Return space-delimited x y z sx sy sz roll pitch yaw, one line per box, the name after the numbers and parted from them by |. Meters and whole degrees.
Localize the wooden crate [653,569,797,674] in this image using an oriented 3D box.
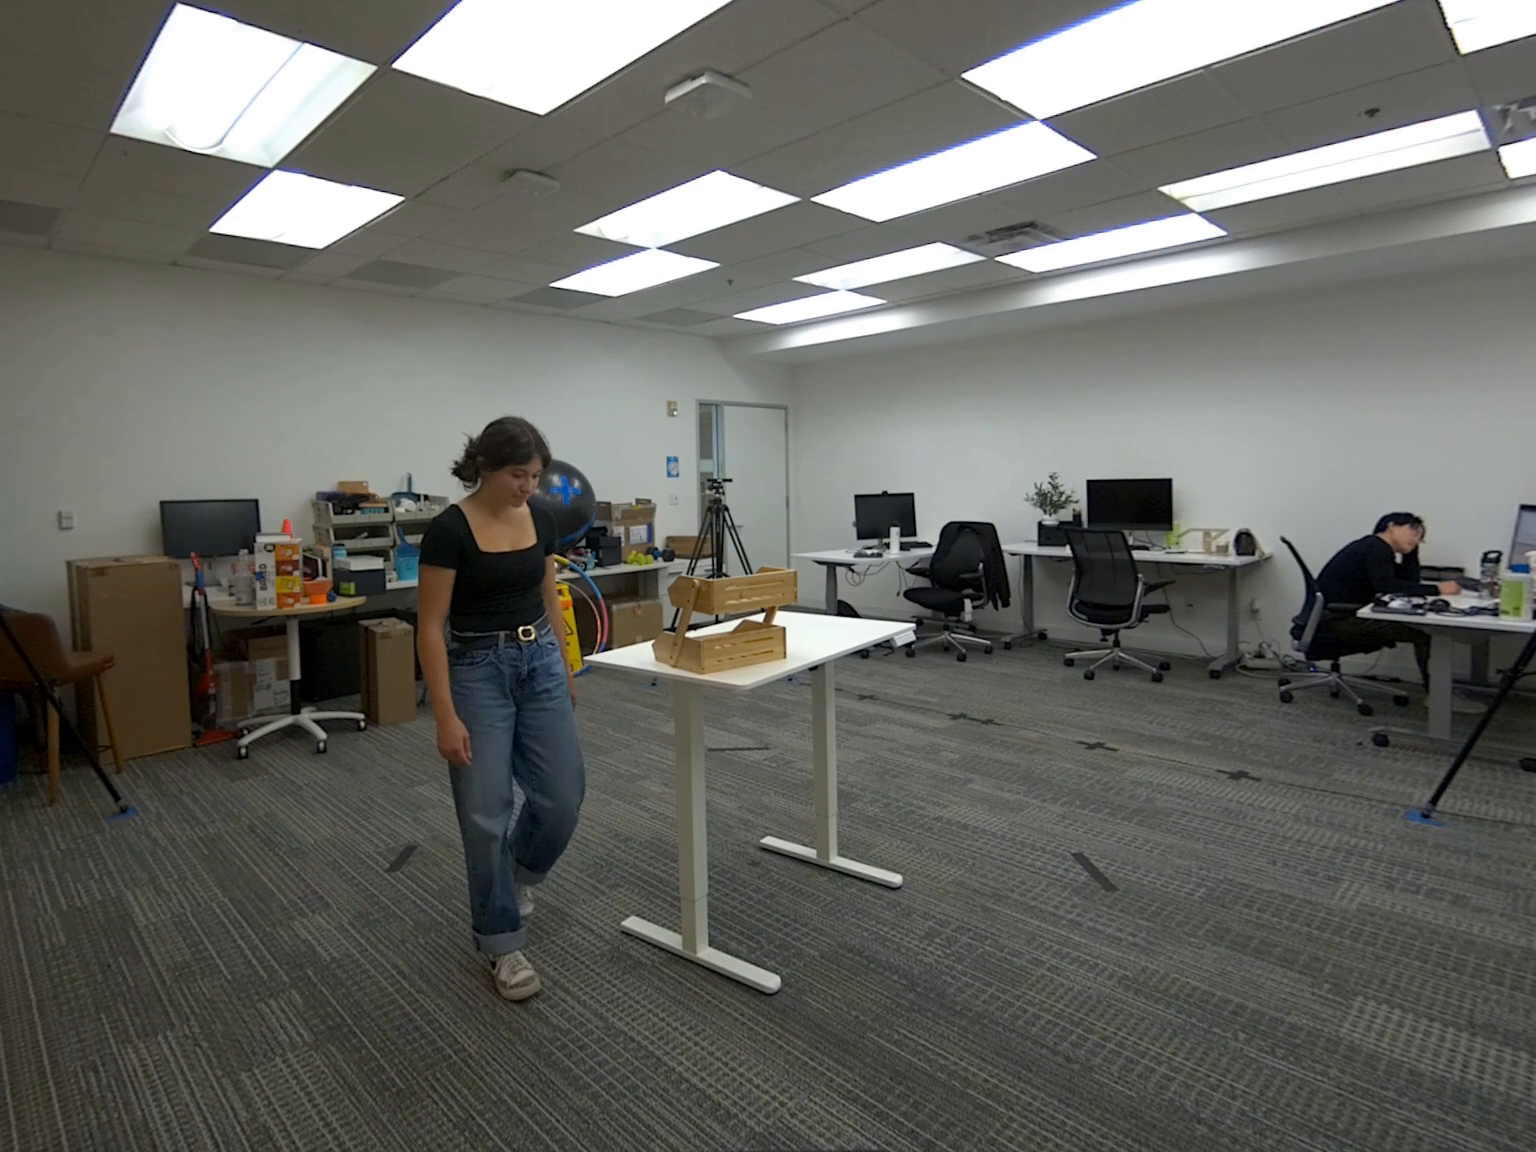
-0.124 0.110 2.443 0.316 0.272 0.311 -6 8 -37 | wooden crate
